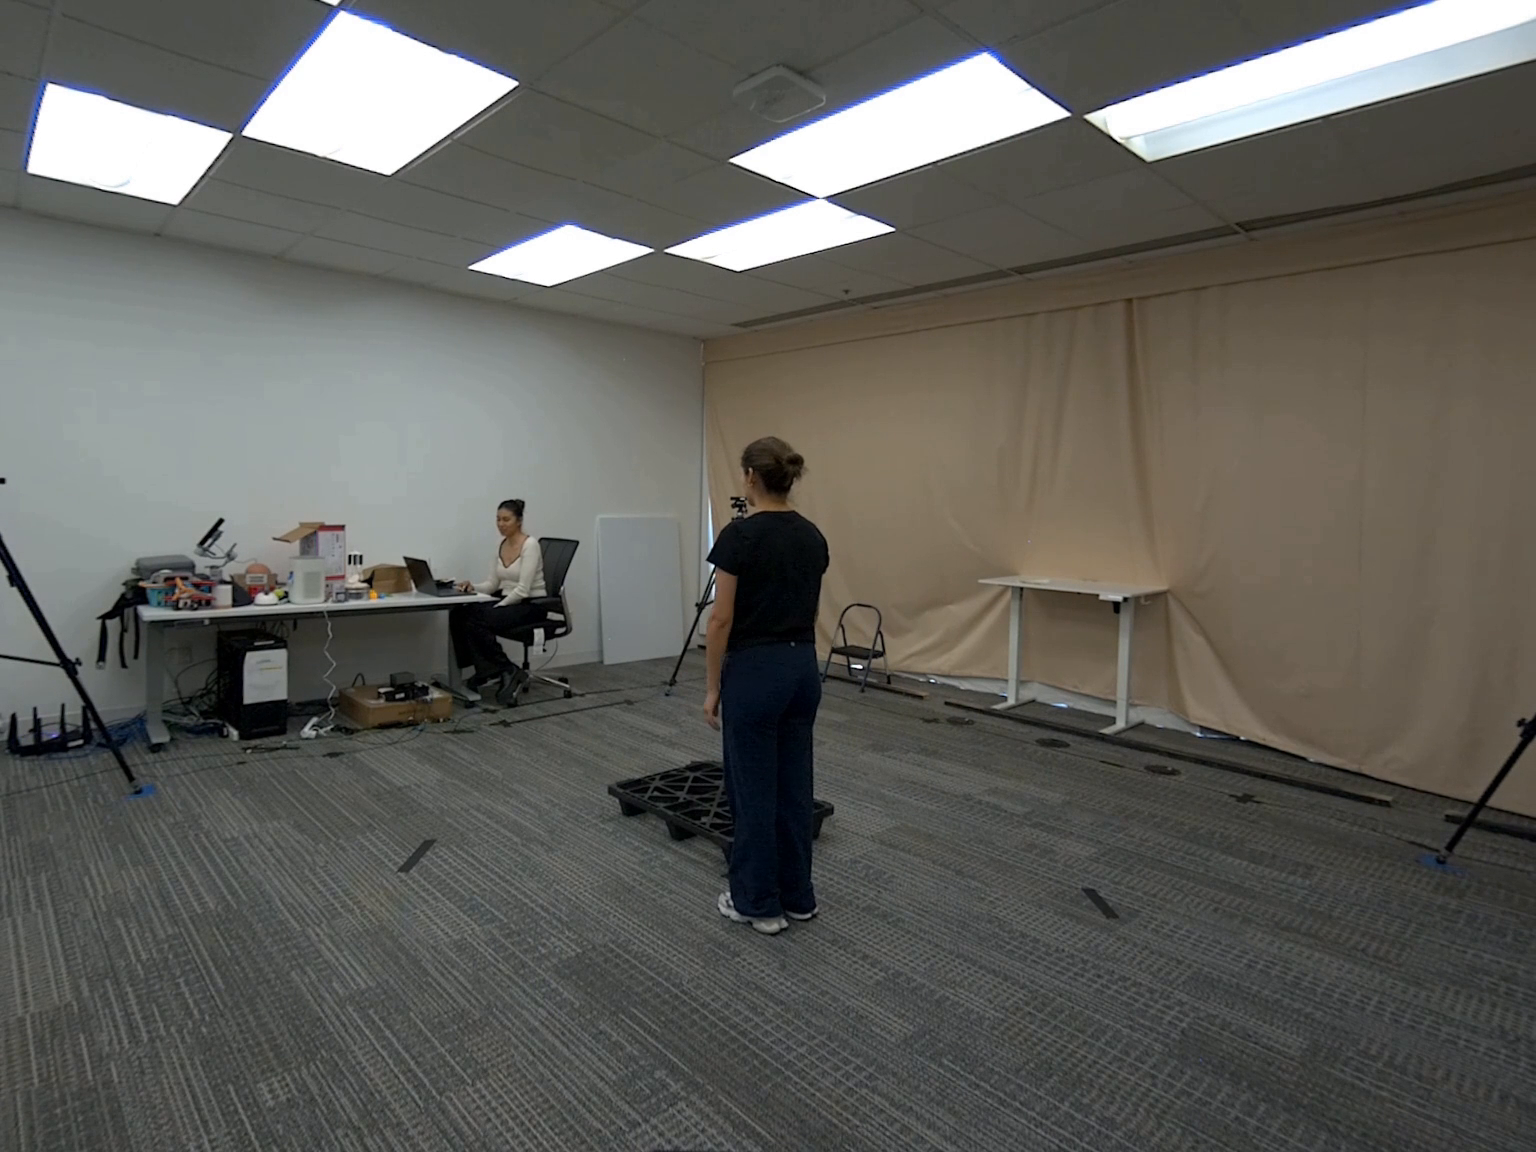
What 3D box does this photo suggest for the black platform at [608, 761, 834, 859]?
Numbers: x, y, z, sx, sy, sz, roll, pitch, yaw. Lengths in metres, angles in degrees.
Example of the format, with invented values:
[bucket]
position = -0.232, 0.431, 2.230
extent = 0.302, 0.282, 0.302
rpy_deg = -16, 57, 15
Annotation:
[black platform]
position = -0.219, 1.000, 3.559
extent = 0.591, 0.143, 0.826
rpy_deg = -4, 7, -45
